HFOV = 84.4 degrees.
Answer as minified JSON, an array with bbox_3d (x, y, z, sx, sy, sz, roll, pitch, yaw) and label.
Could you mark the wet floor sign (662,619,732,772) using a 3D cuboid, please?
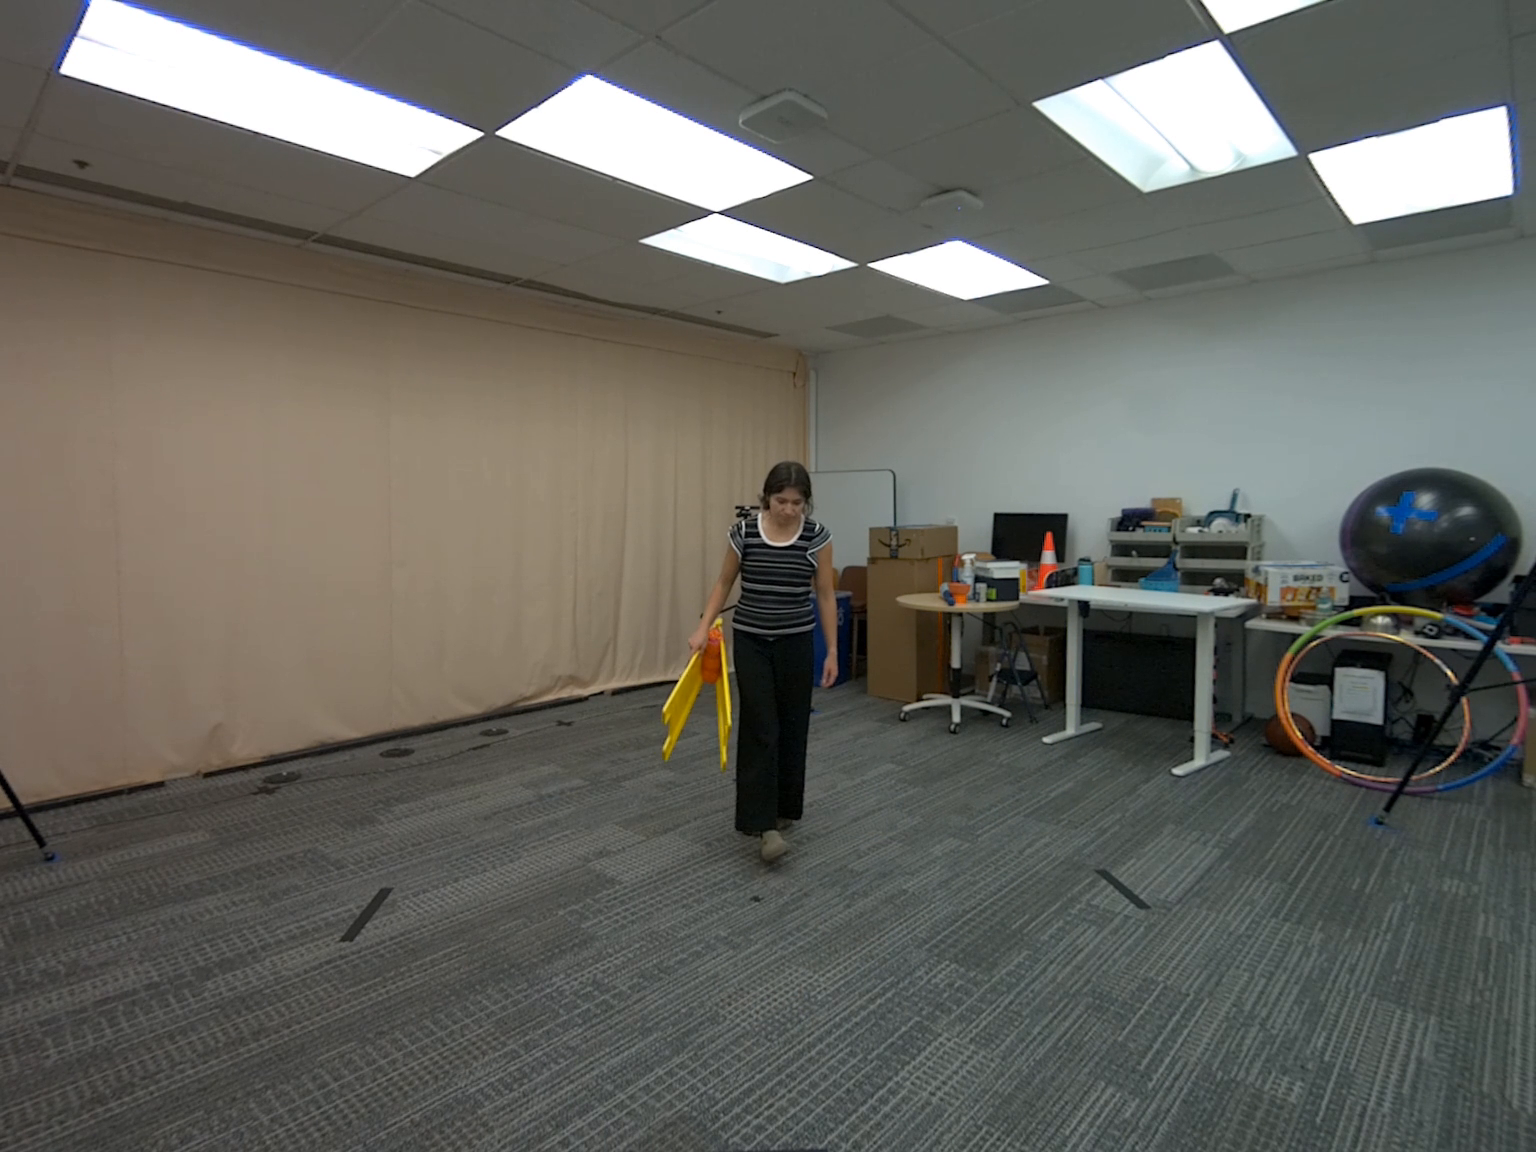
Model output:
[{"bbox_3d":[-0.244,0.445,3.458,0.290,0.278,0.654,8,37,0],"label":"wet floor sign"}]
